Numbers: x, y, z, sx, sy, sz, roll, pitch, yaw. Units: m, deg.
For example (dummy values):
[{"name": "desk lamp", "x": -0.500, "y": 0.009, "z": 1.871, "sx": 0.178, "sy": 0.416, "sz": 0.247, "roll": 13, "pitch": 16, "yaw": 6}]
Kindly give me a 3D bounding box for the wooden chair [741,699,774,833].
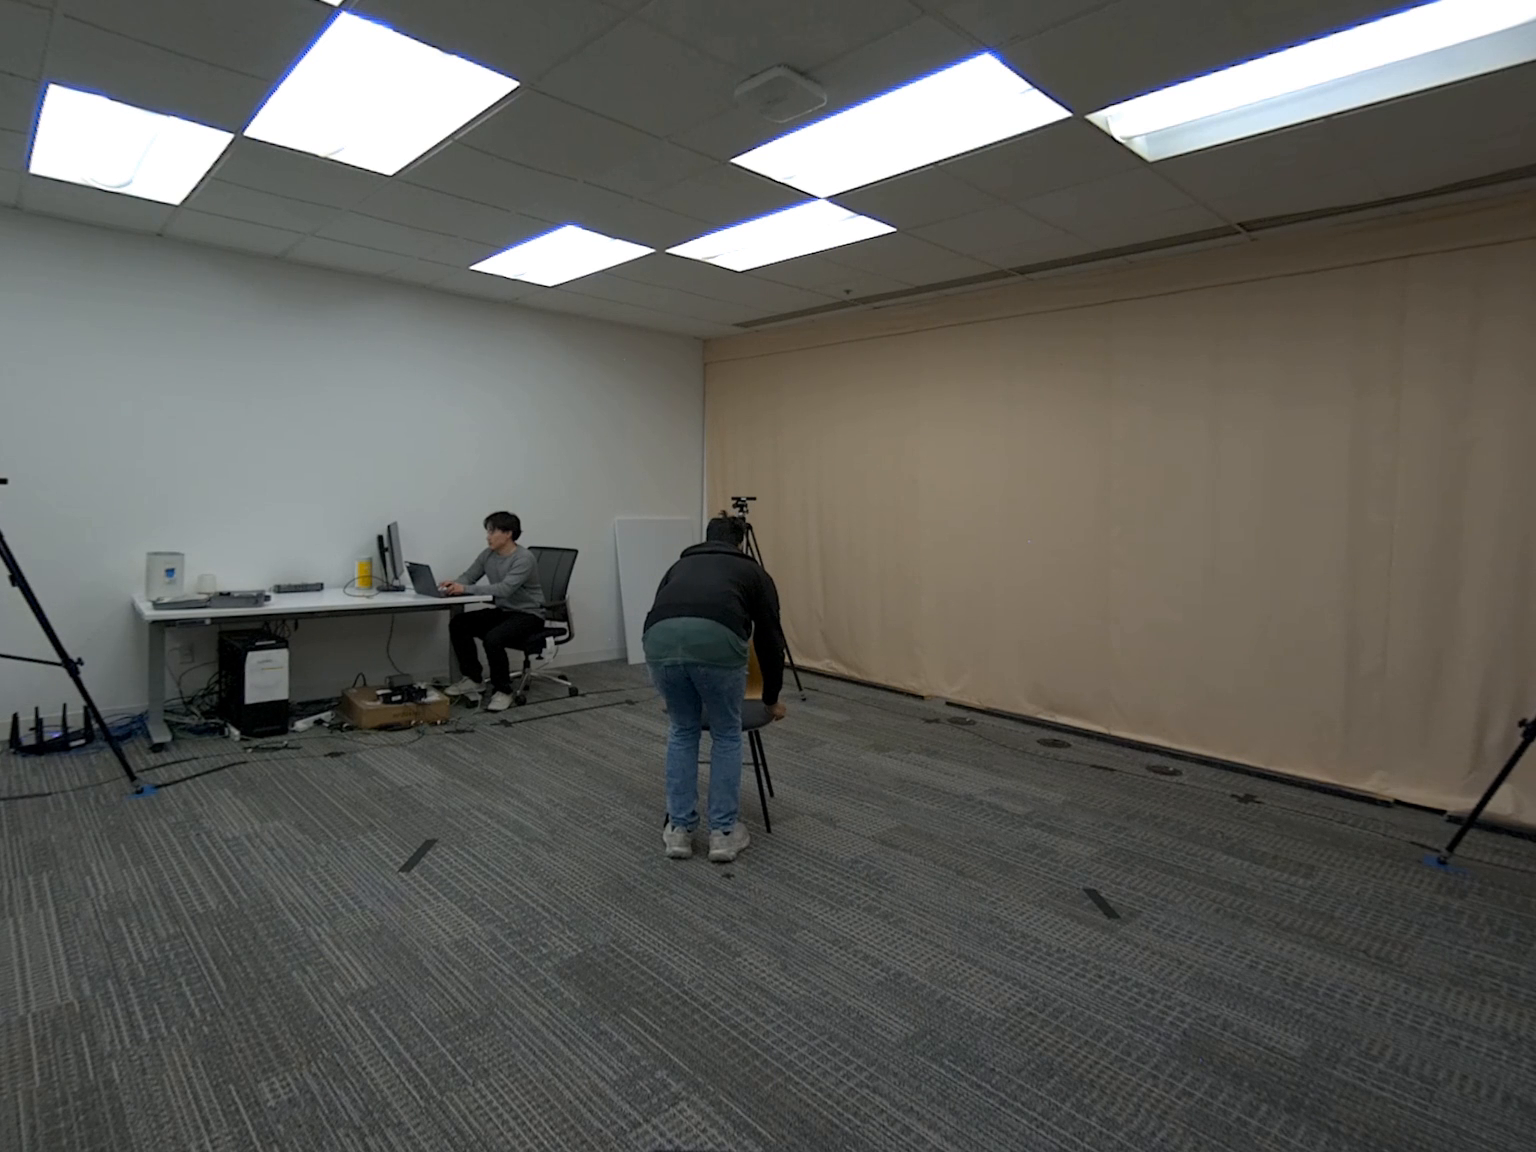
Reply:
[{"name": "wooden chair", "x": -0.191, "y": 0.617, "z": 3.710, "sx": 0.480, "sy": 0.878, "sz": 0.521, "roll": 3, "pitch": -1, "yaw": 3}]
